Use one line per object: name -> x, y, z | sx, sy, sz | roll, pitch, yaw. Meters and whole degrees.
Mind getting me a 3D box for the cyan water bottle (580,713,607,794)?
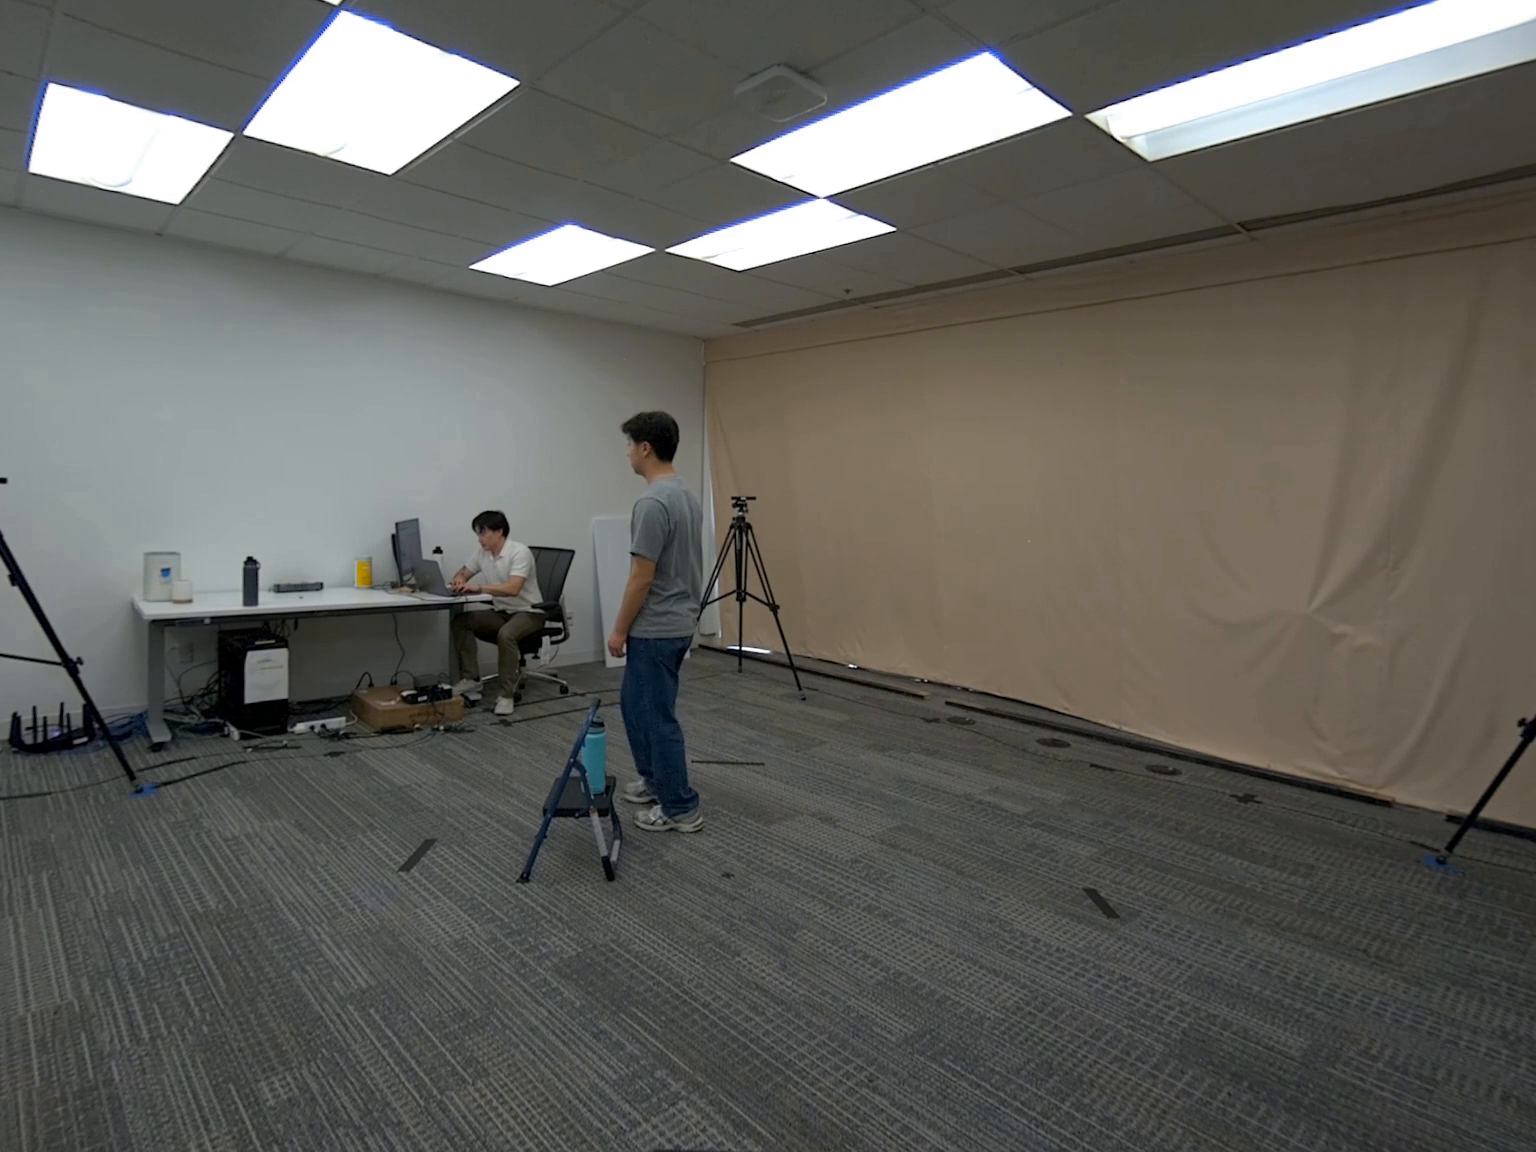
cyan water bottle -> -0.682, 0.683, 3.216 | 0.092, 0.282, 0.093 | 1, 5, -1
